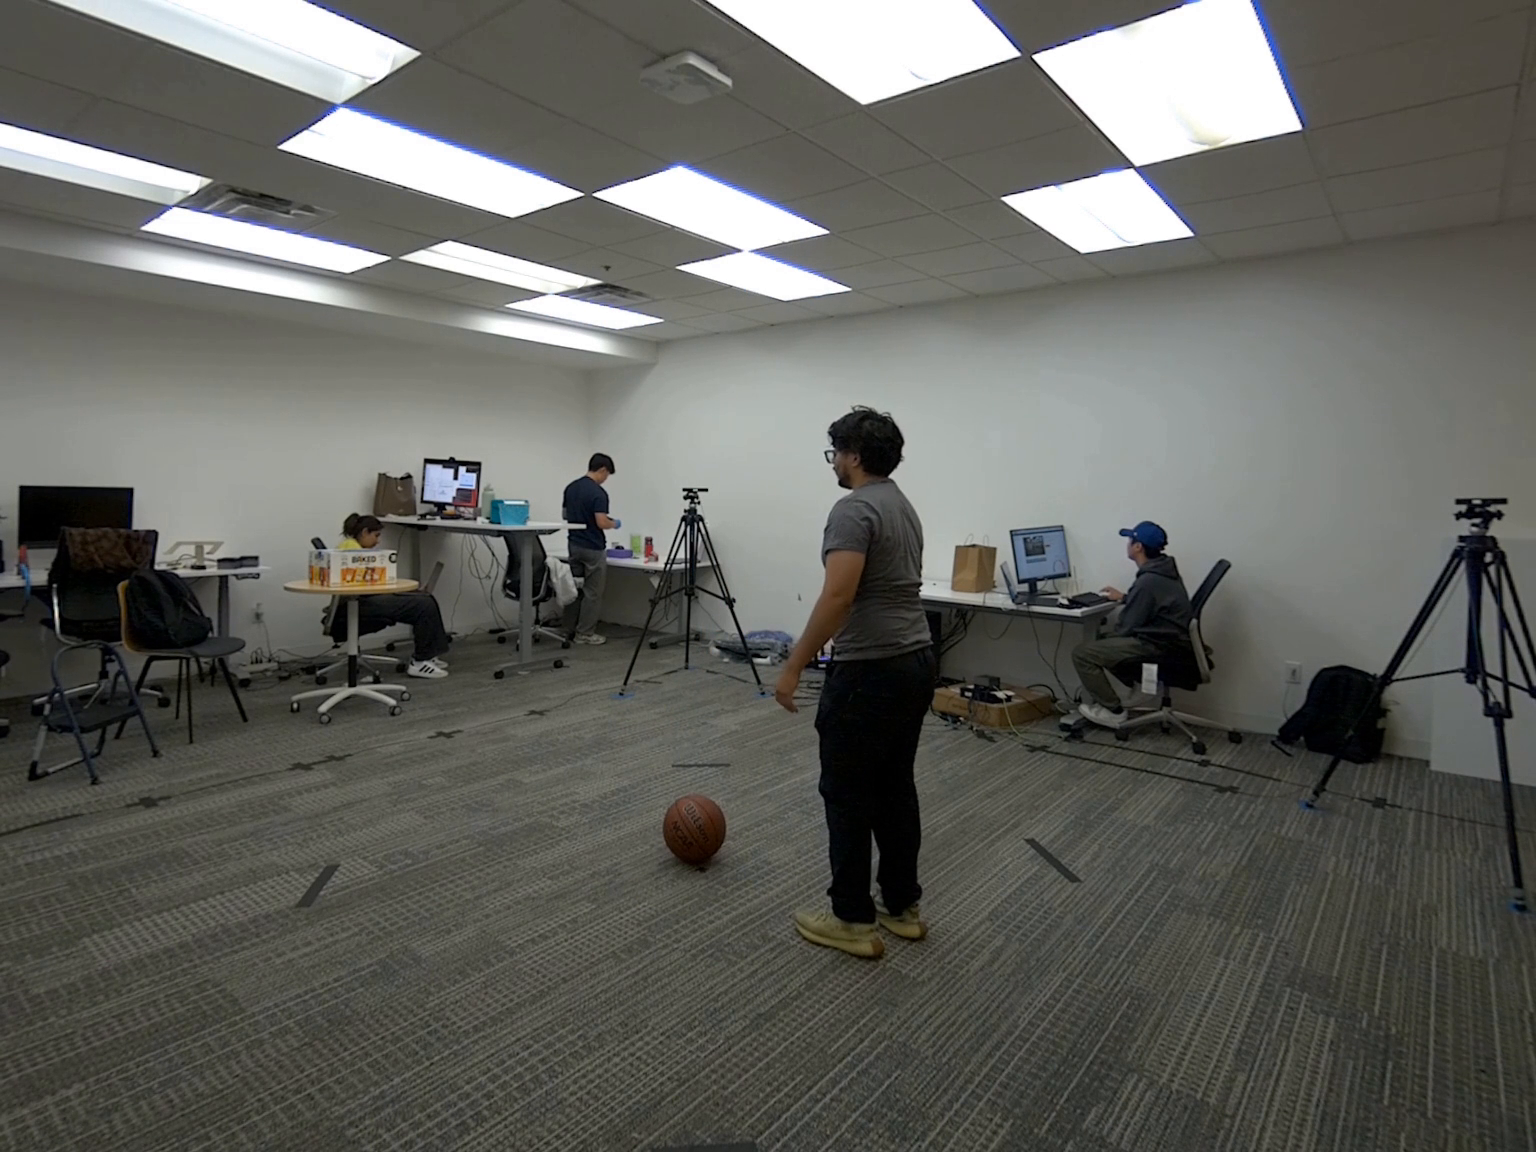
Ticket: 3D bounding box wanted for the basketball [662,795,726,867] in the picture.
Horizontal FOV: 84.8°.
[{"bbox_3d":[-0.280,0.941,3.187,0.235,0.235,0.237,1,4,-2],"label":"basketball"}]
